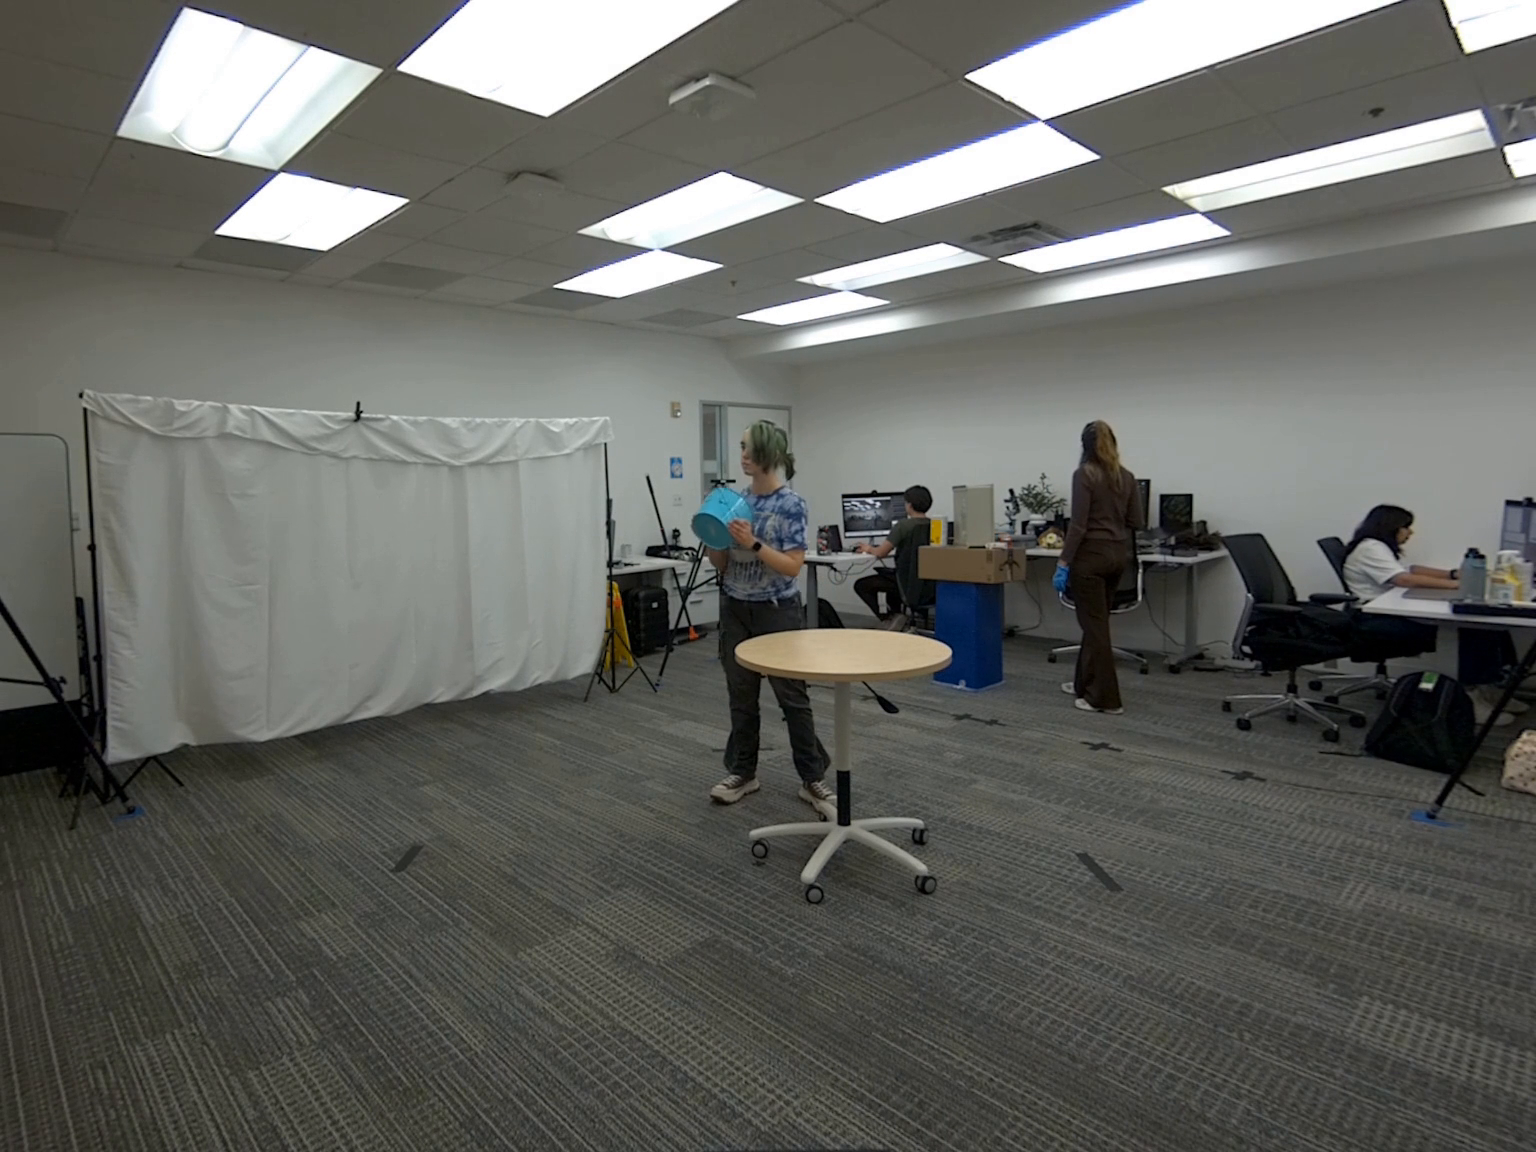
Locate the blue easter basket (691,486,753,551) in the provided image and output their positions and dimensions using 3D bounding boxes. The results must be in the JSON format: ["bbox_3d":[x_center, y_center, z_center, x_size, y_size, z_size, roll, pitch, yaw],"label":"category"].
[{"bbox_3d":[-0.192,-0.229,3.491,0.250,0.236,0.156,3,38,35],"label":"blue easter basket"}]
